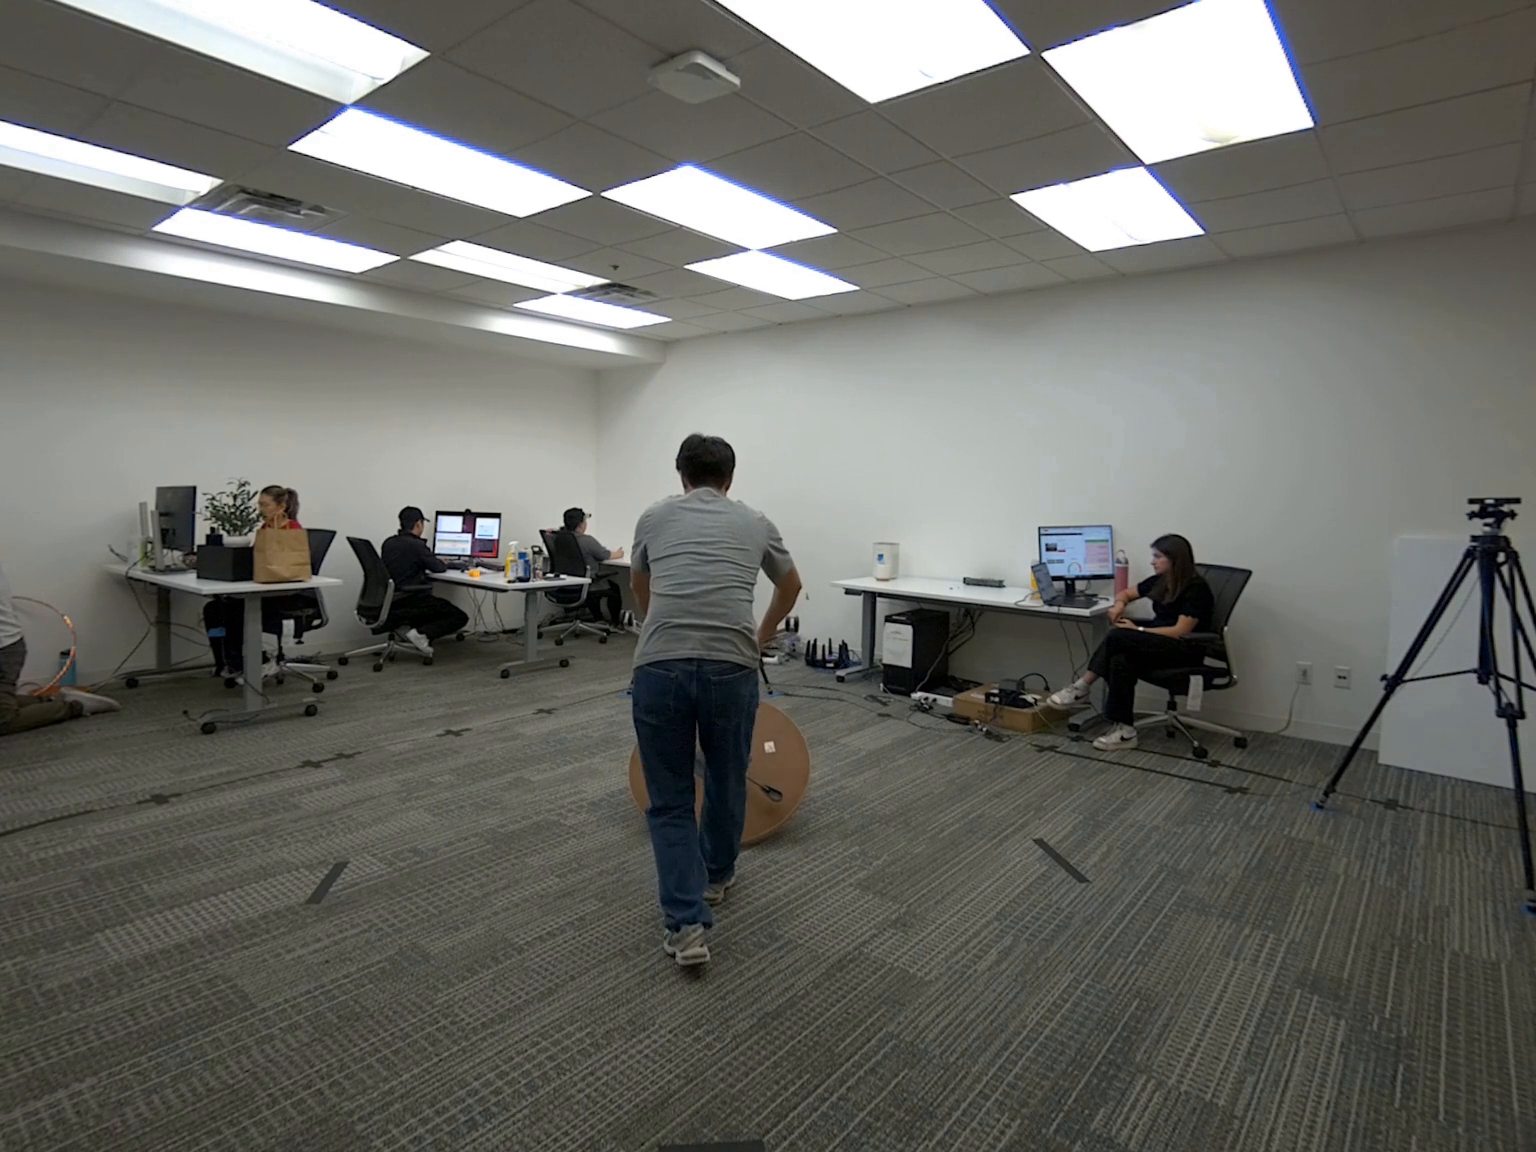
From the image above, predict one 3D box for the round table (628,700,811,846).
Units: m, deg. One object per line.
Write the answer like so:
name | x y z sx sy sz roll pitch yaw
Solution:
round table | -0.220 0.501 3.337 0.765 0.770 0.786 -3 39 1
